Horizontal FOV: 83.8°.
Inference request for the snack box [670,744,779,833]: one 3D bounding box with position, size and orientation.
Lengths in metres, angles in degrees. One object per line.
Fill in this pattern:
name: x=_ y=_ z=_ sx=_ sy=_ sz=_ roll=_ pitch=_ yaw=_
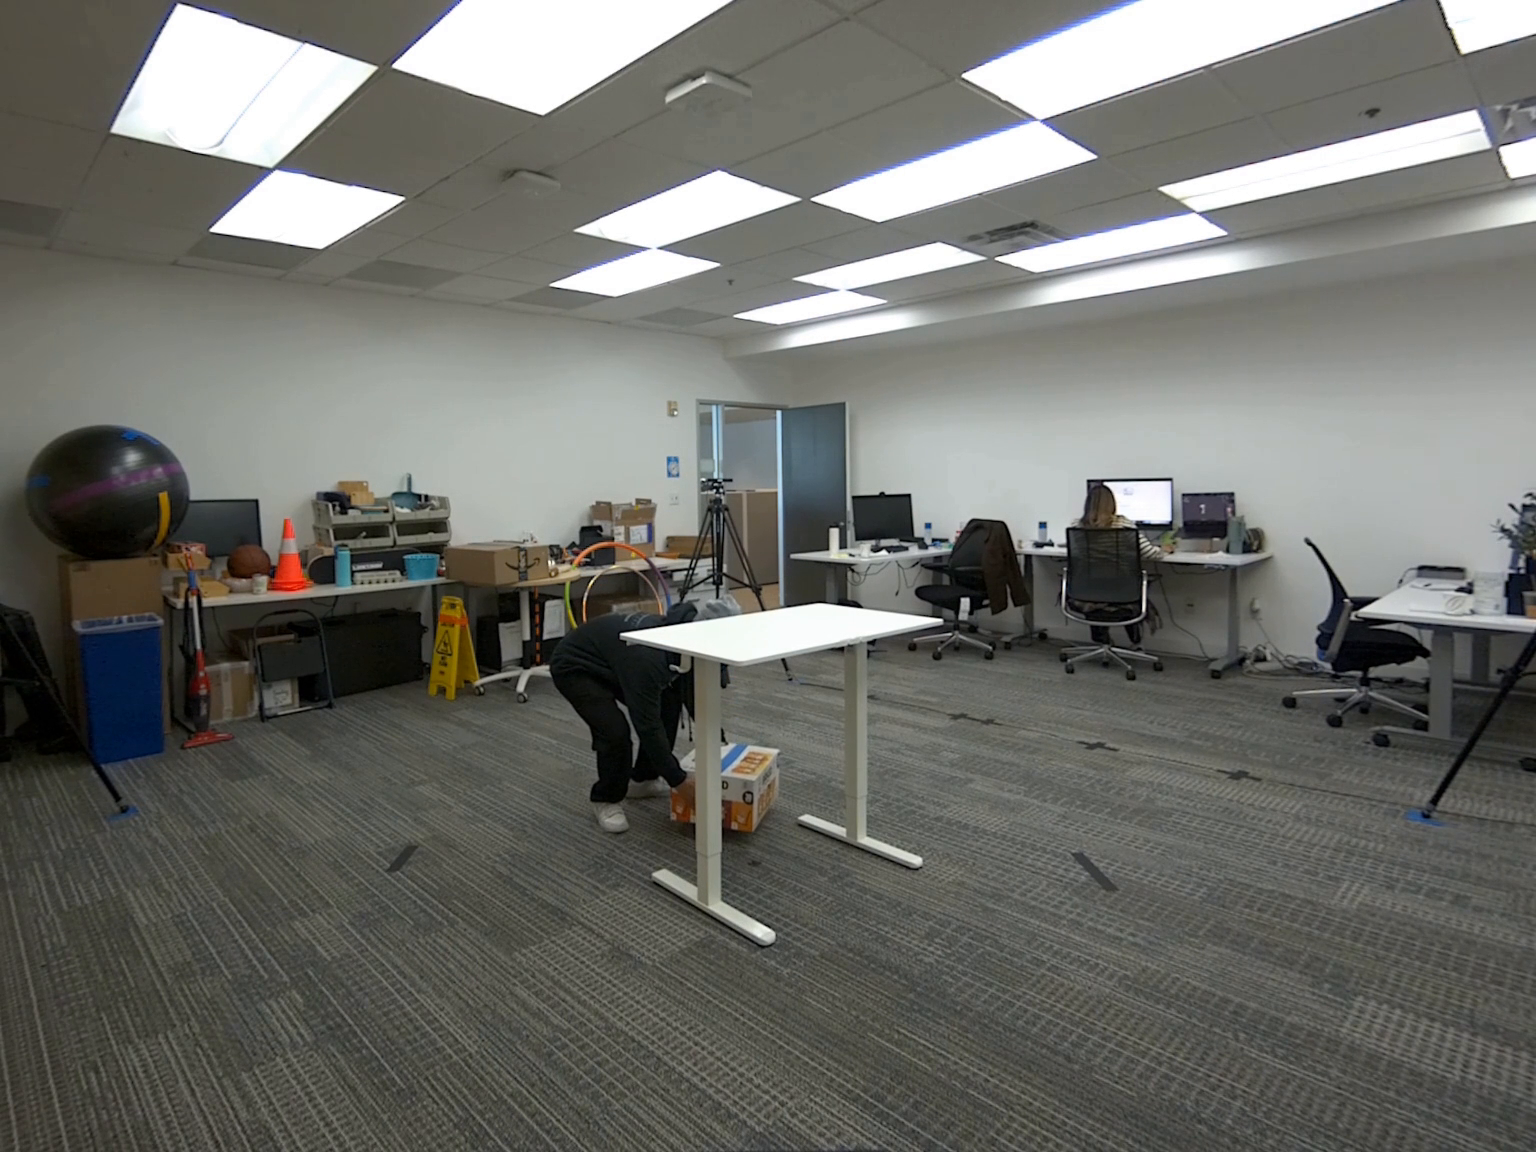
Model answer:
snack box: x=-0.166 y=0.845 z=3.479 sx=0.346 sy=0.205 sz=0.400 roll=4 pitch=6 yaw=16
